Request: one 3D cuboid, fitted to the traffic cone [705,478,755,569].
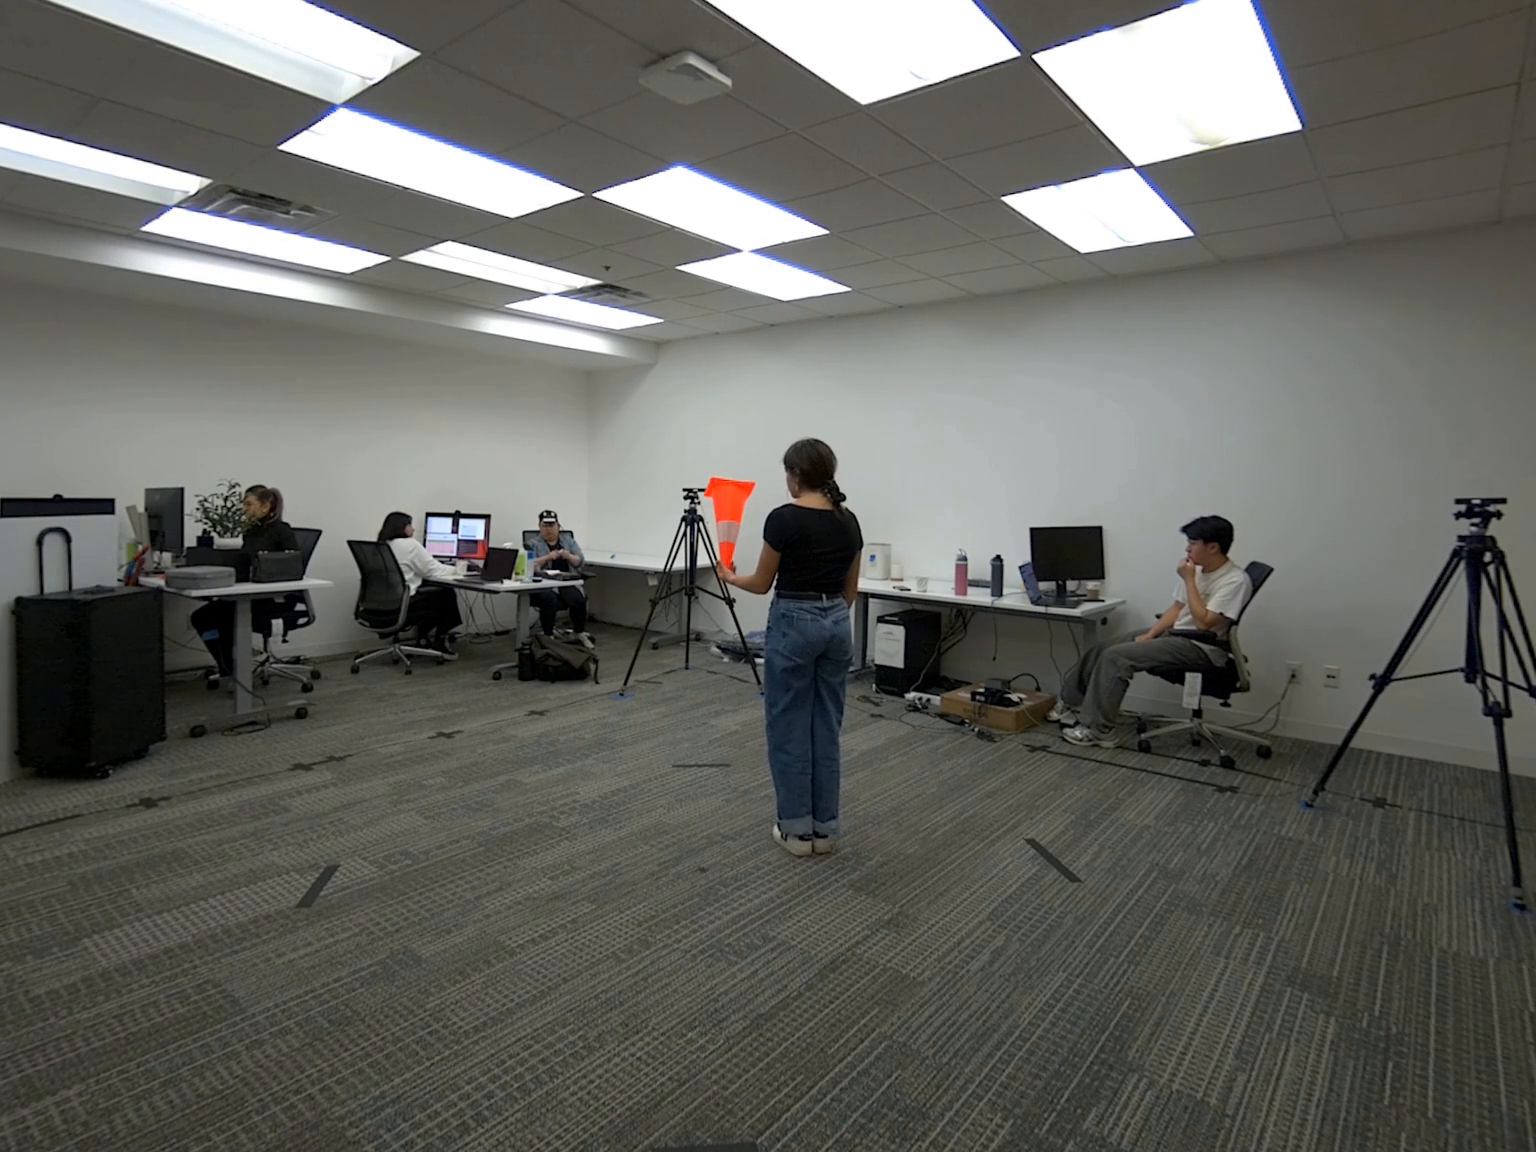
[{"bbox_3d":[-0.171,-0.196,3.641,0.203,0.391,0.202,4,-20,-11],"label":"traffic cone"}]
